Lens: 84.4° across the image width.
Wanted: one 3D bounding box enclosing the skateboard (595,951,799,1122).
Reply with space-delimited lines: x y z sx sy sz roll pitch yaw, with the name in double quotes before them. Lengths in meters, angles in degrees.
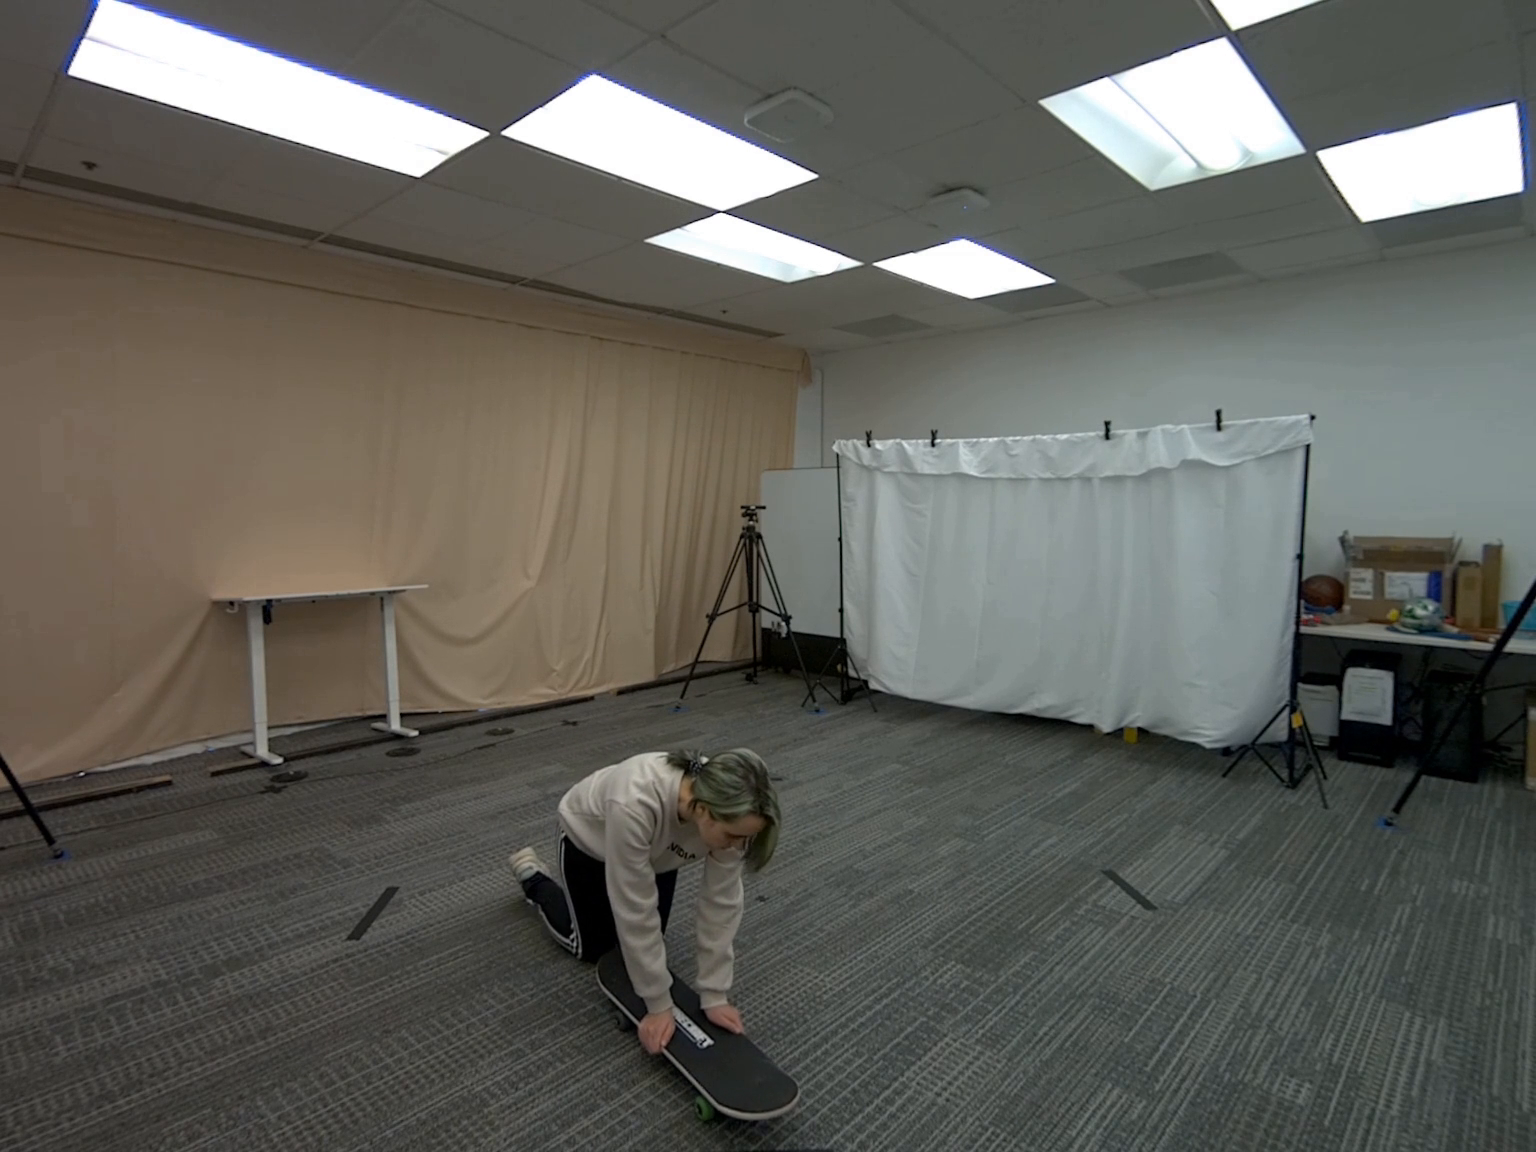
"skateboard" -0.208 1.165 2.113 0.188 0.110 0.810 -3 5 -37
